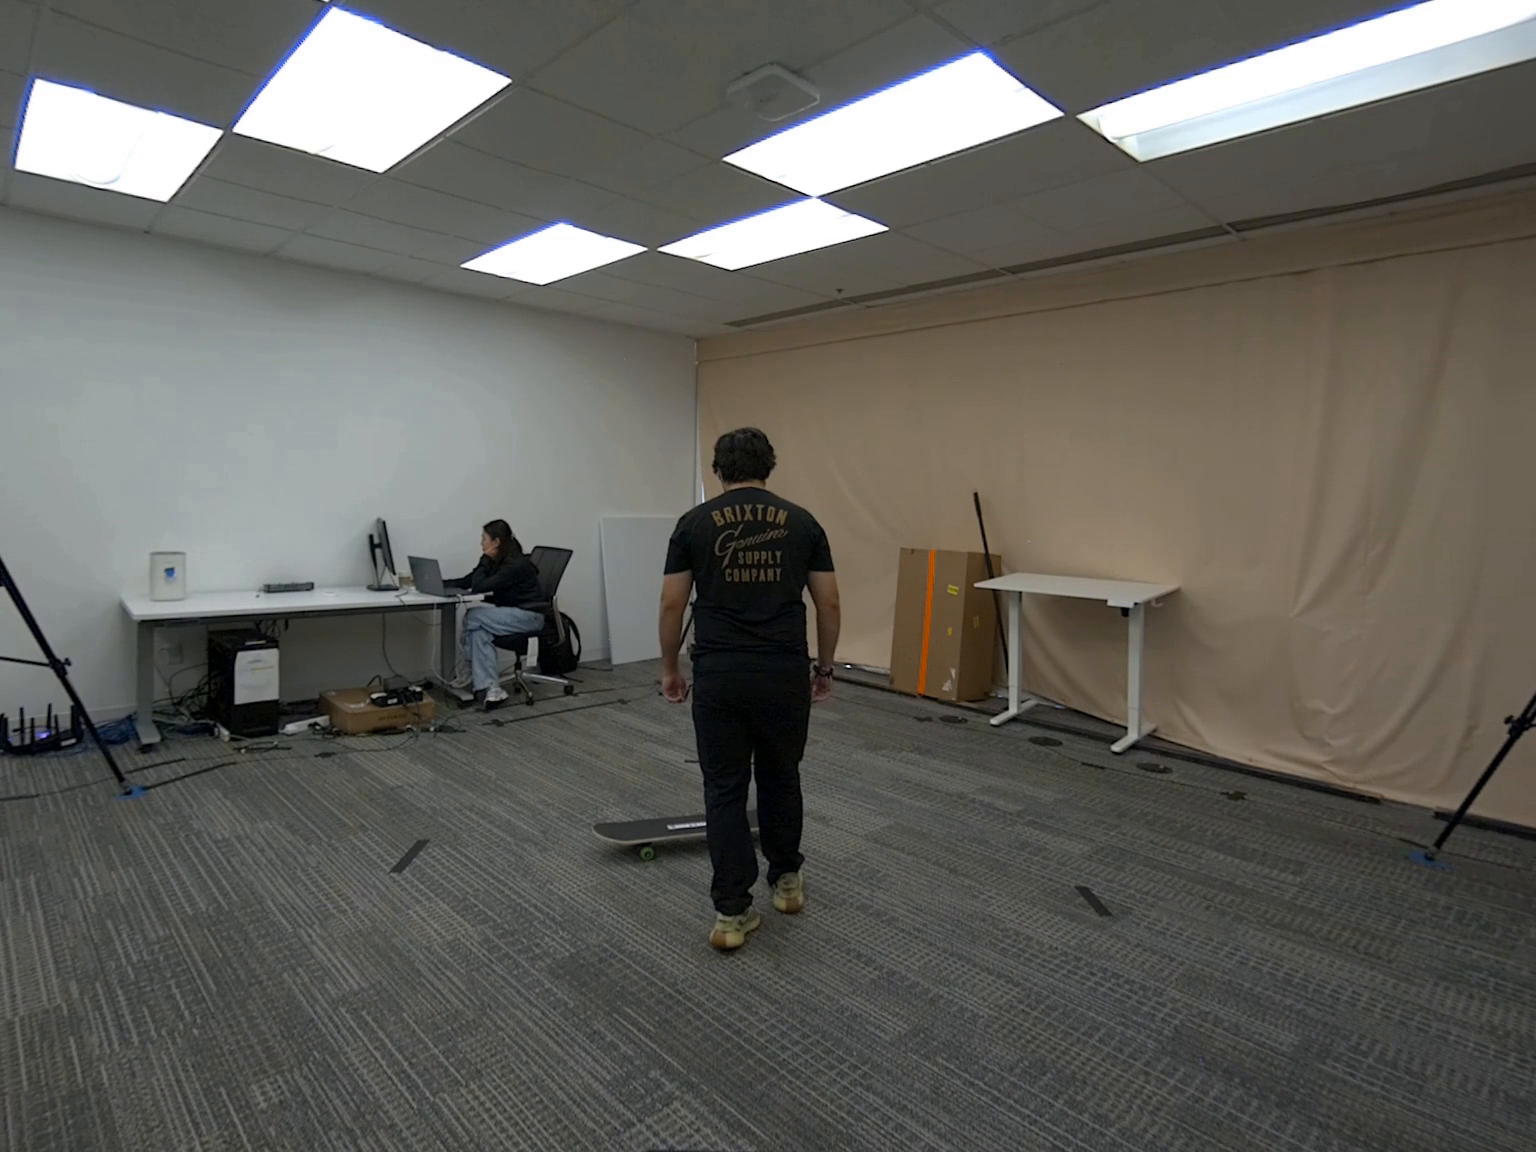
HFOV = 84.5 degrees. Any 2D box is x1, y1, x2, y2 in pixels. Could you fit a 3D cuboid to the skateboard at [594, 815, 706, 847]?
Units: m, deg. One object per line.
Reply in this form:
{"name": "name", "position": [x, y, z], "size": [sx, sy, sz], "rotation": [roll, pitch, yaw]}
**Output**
{"name": "skateboard", "position": [-0.308, 1.022, 3.346], "size": [0.774, 0.110, 0.197], "rotation": [0, 5, -18]}
